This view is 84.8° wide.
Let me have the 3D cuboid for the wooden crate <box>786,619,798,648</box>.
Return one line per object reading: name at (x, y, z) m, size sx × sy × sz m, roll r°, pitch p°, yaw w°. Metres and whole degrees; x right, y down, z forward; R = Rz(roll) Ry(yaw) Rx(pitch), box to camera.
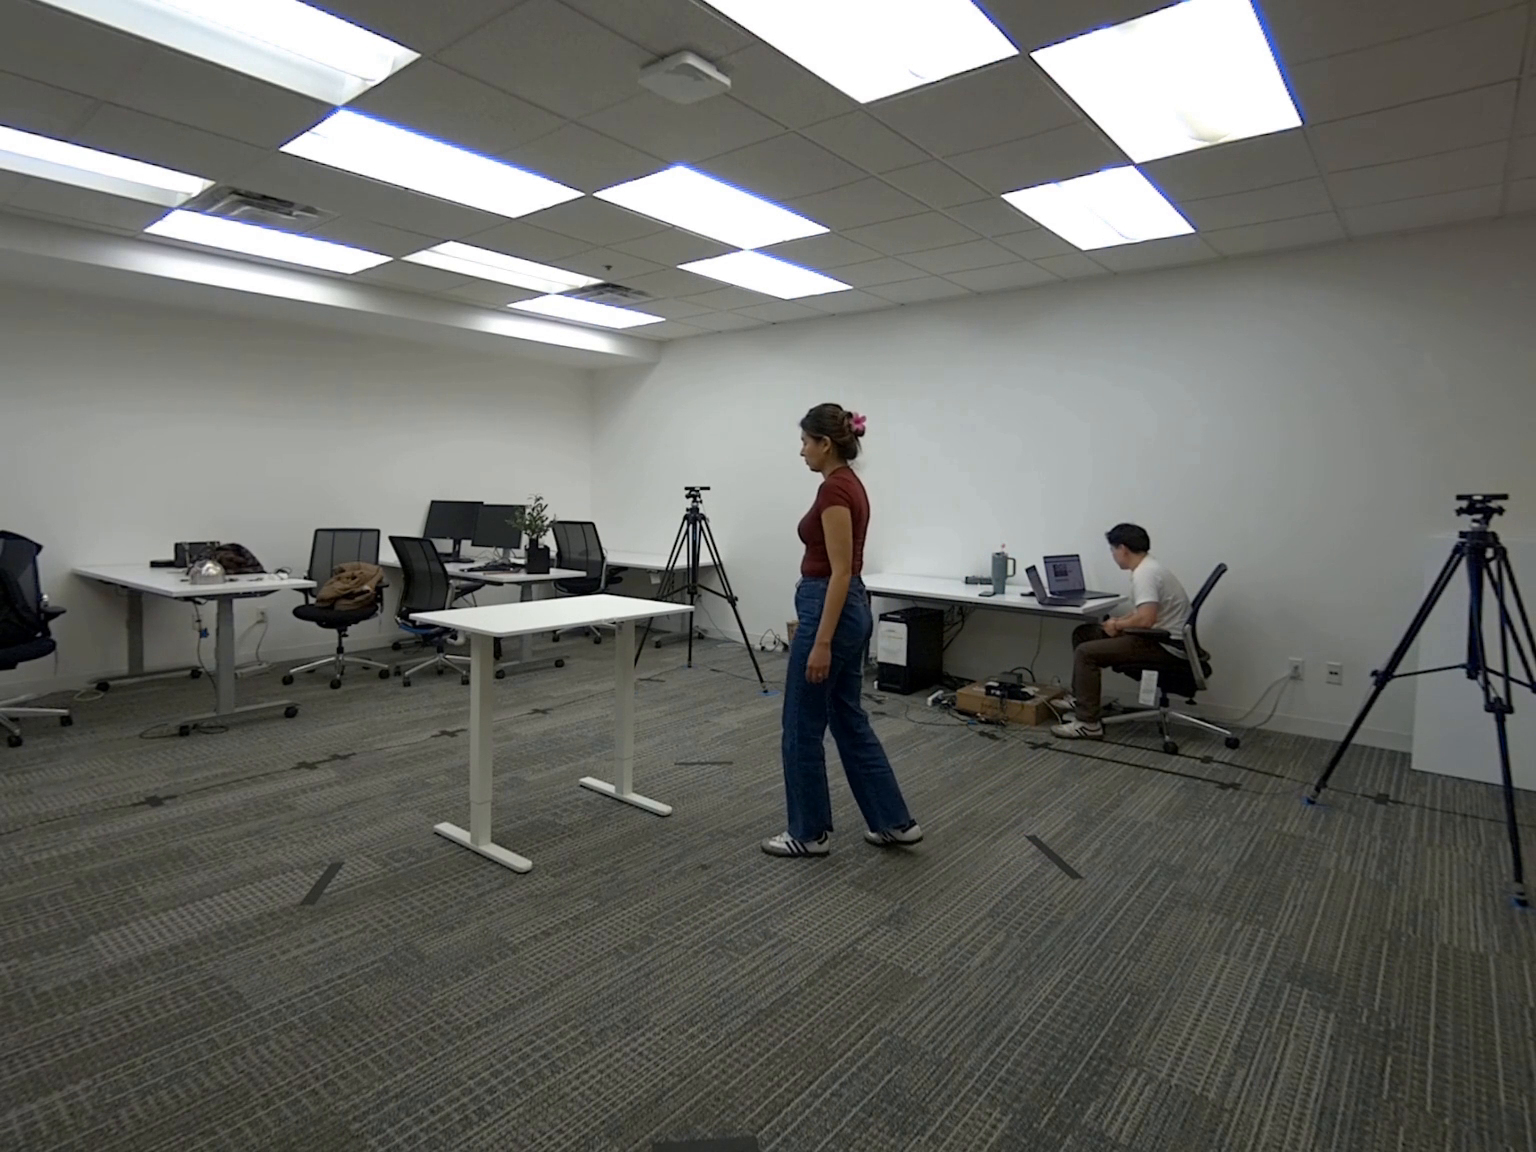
wooden crate at (0.237, 0.333, 3.710) m, size 0.272 × 0.326 × 0.303 m, roll -5°, pitch -3°, yaw -6°
